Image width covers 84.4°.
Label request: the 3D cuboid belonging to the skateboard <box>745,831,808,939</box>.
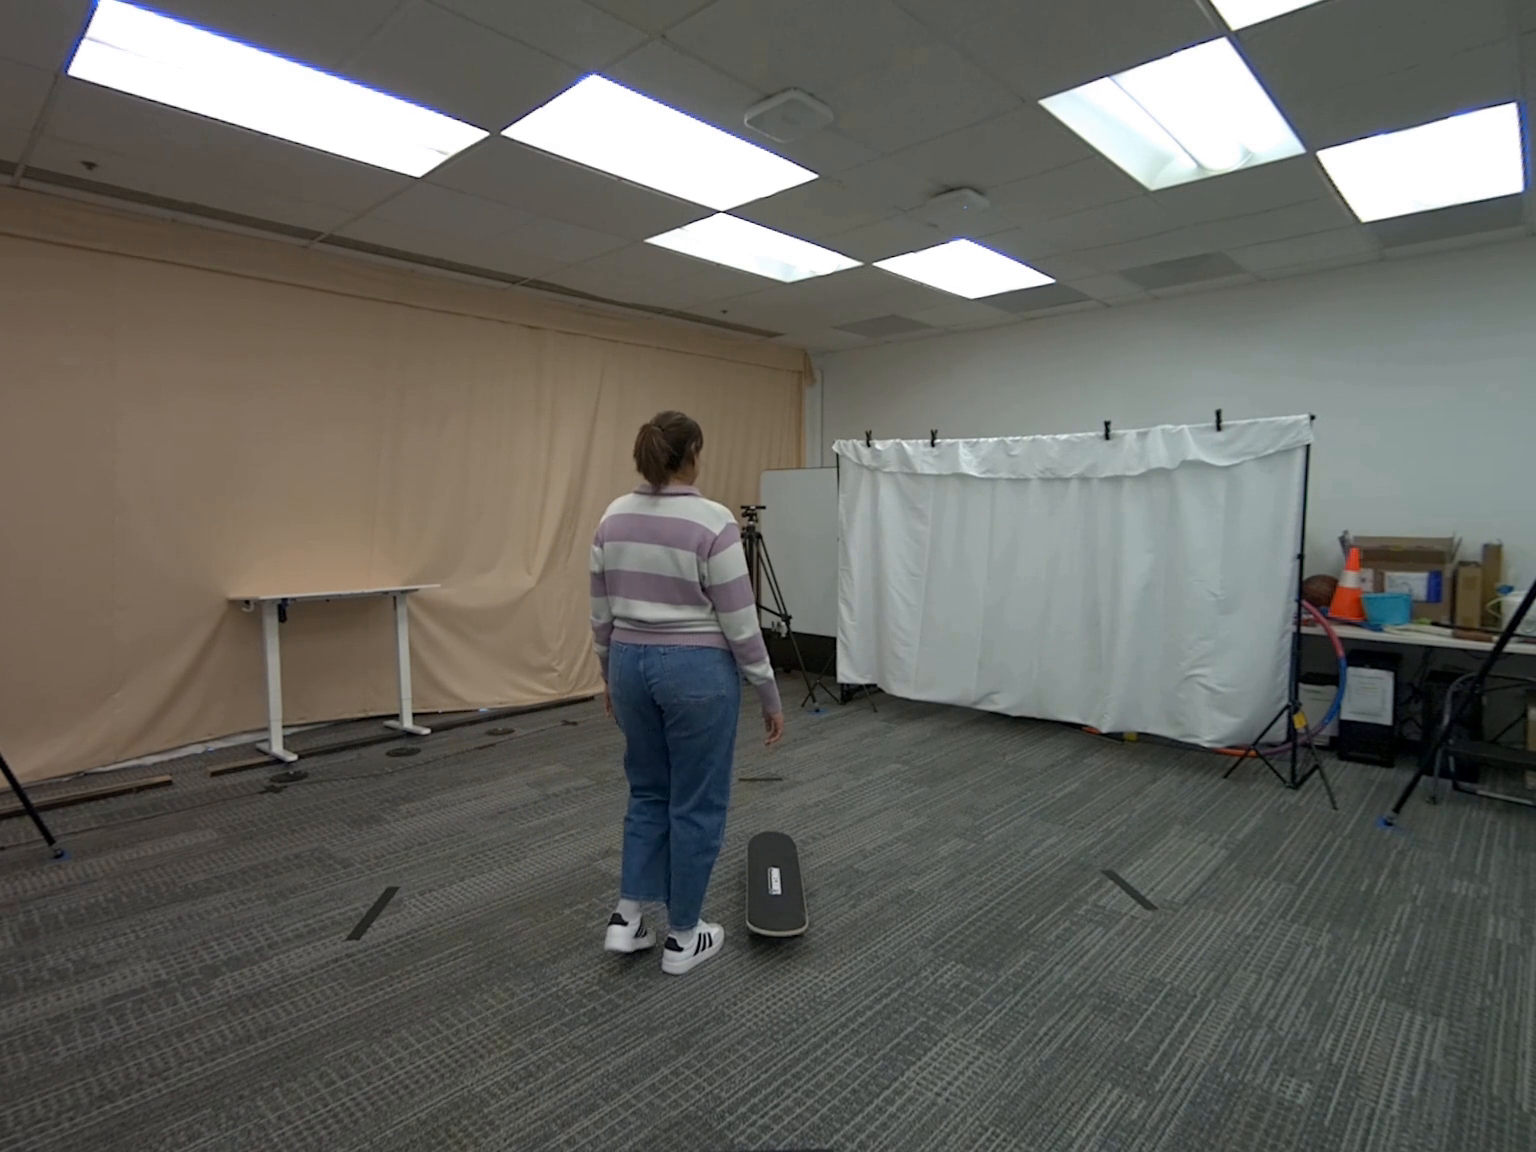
[{"bbox_3d":[0.025,1.089,2.927,0.193,0.110,0.787,-1,5,-1],"label":"skateboard"}]
